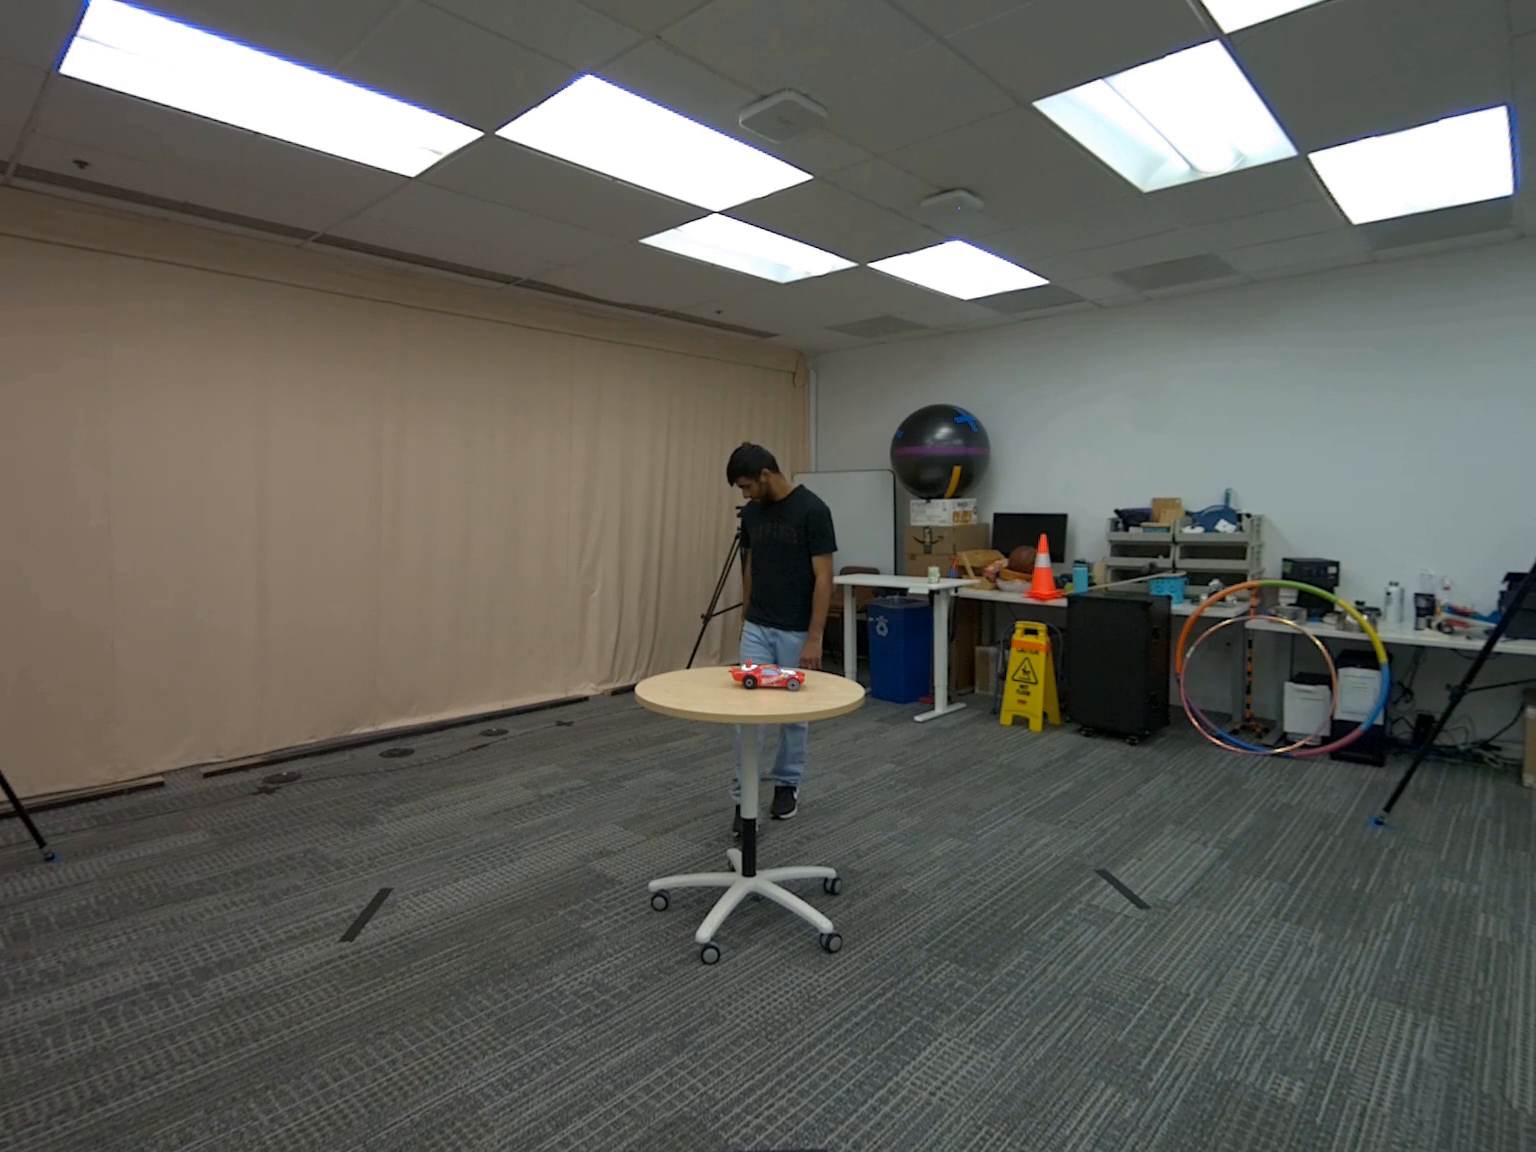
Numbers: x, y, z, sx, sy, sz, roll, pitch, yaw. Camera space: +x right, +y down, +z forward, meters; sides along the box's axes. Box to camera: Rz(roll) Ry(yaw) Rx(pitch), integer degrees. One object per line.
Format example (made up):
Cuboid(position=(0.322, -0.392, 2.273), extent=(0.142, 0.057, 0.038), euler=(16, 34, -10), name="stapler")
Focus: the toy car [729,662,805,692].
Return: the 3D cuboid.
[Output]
Cuboid(position=(-0.006, 0.341, 2.839), extent=(0.257, 0.083, 0.129), euler=(12, 5, 8), name="toy car")
